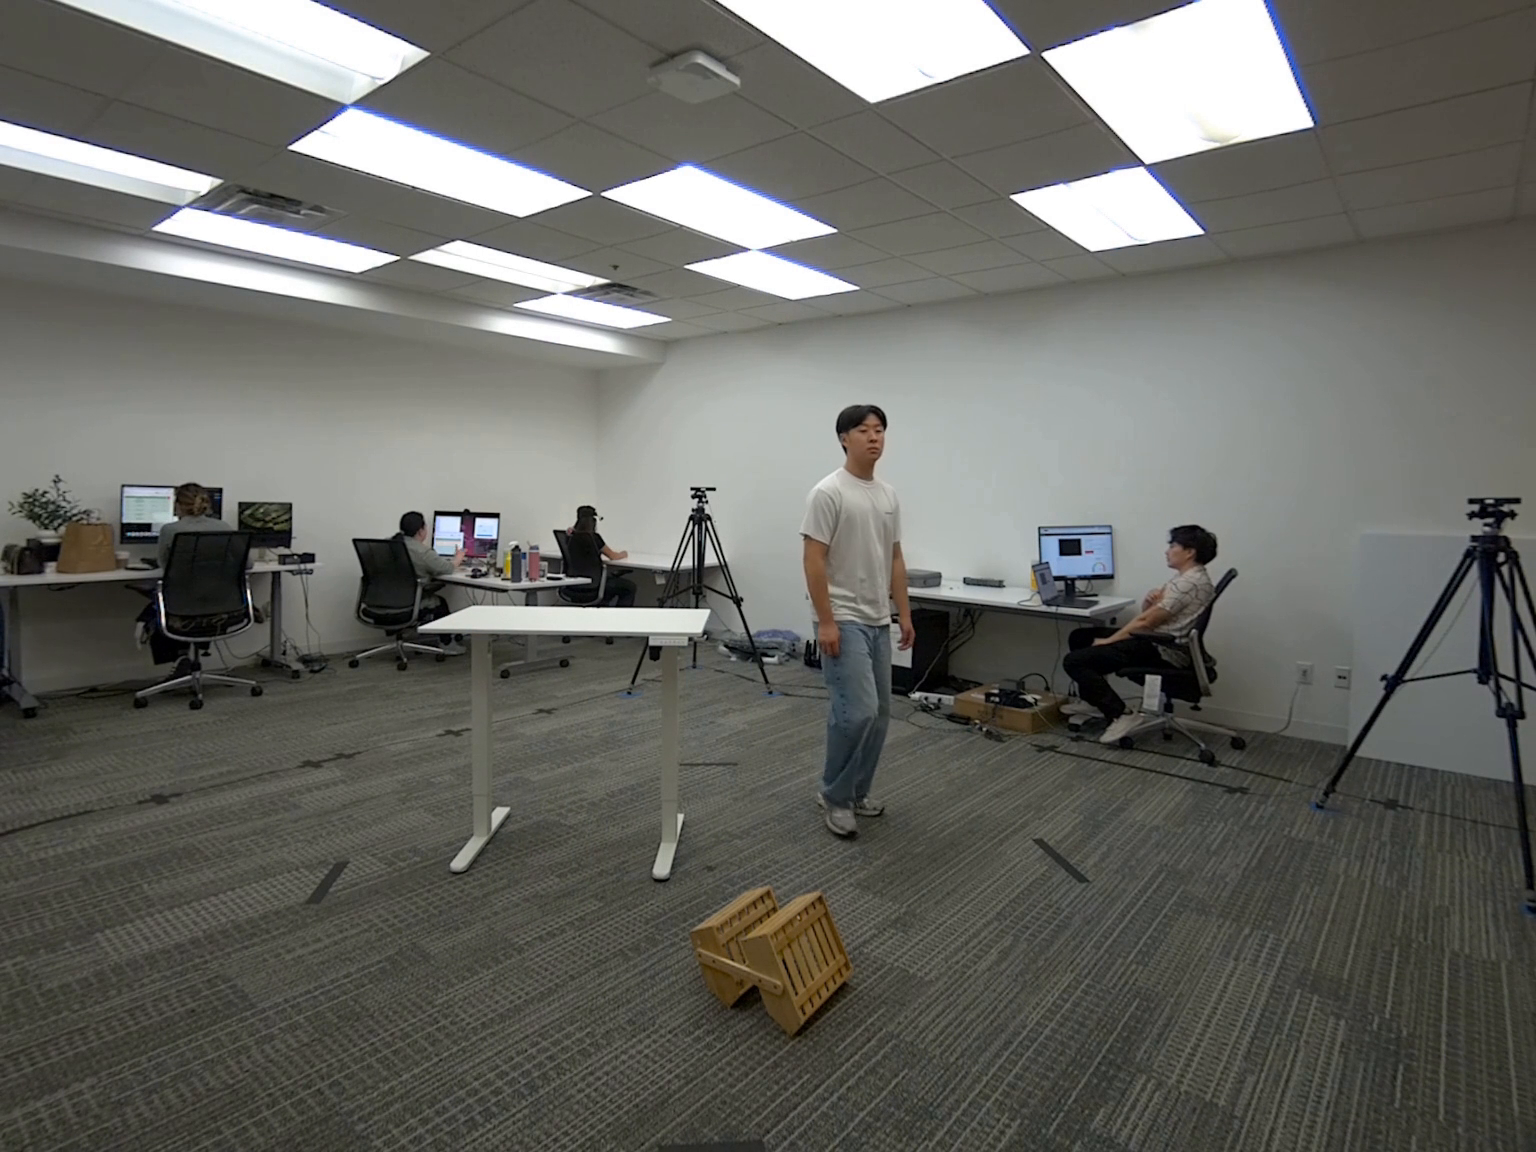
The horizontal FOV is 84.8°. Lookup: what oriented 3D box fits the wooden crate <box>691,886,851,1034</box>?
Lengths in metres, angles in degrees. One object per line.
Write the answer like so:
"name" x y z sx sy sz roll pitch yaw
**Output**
"wooden crate" 0.004 1.055 2.368 0.276 0.307 0.315 -29 -13 31
